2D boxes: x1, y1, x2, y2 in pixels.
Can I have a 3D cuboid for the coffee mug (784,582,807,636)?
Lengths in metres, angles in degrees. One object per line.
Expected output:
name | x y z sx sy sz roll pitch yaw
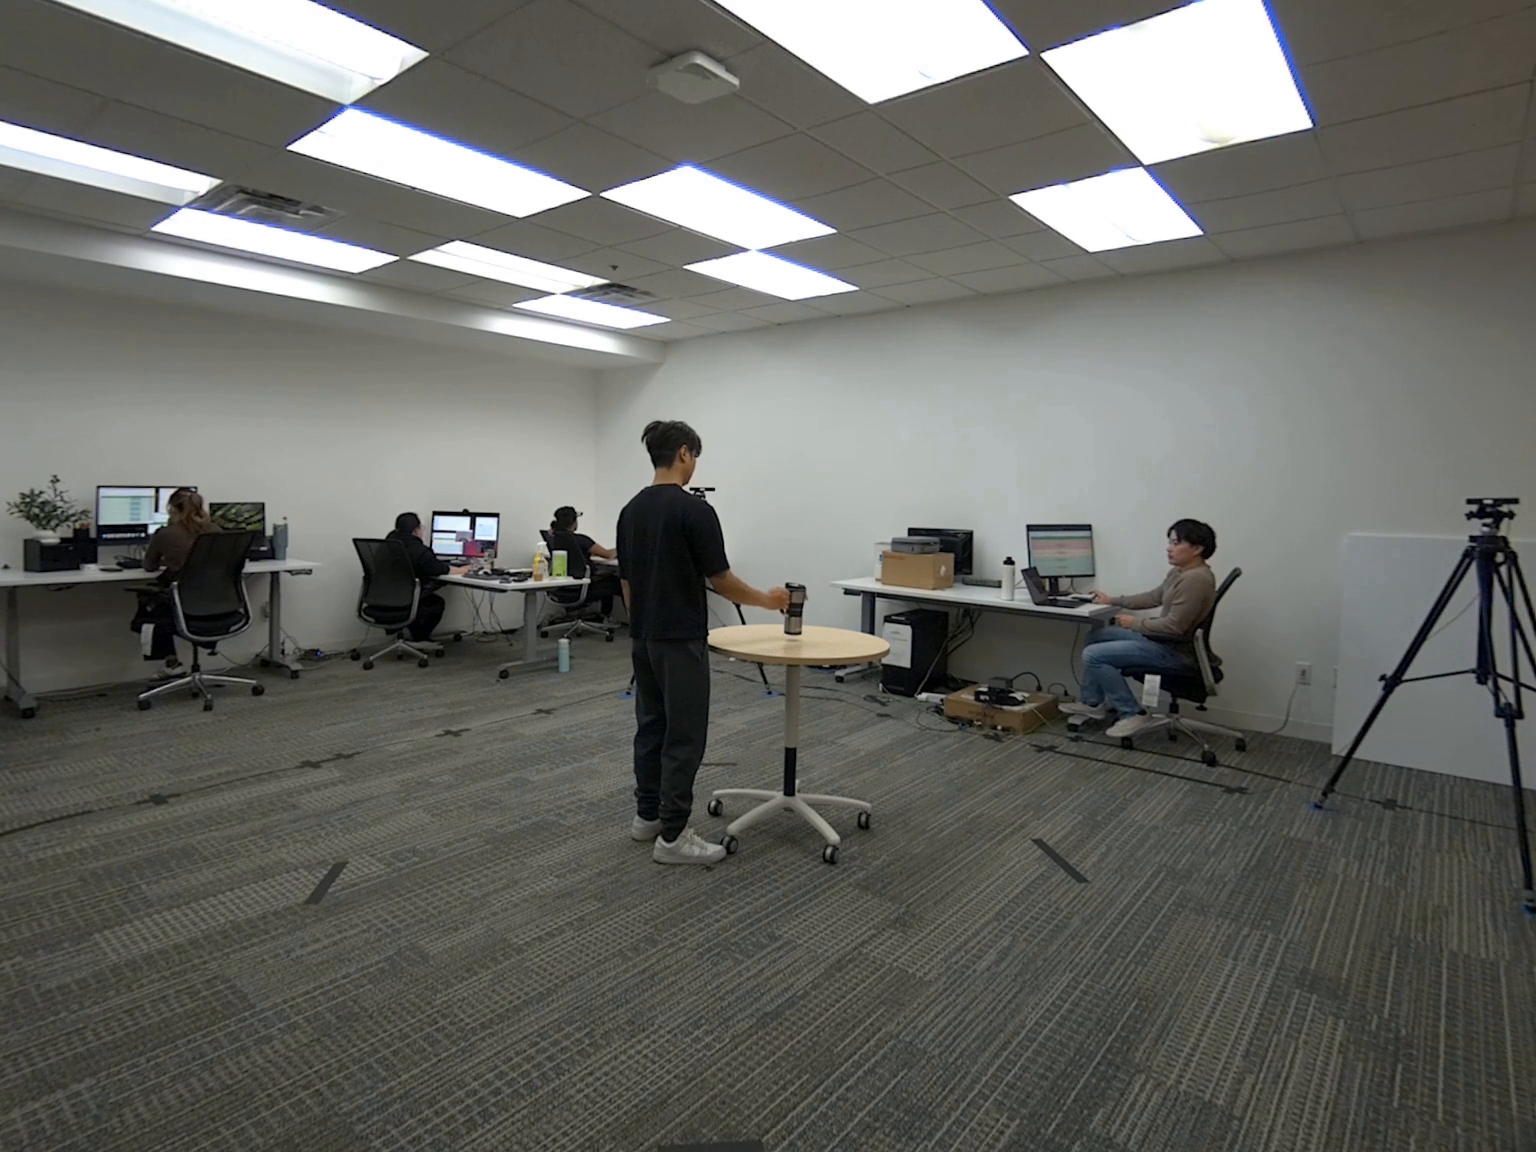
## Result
coffee mug | 0.079 0.128 3.442 0.126 0.201 0.086 10 11 31
